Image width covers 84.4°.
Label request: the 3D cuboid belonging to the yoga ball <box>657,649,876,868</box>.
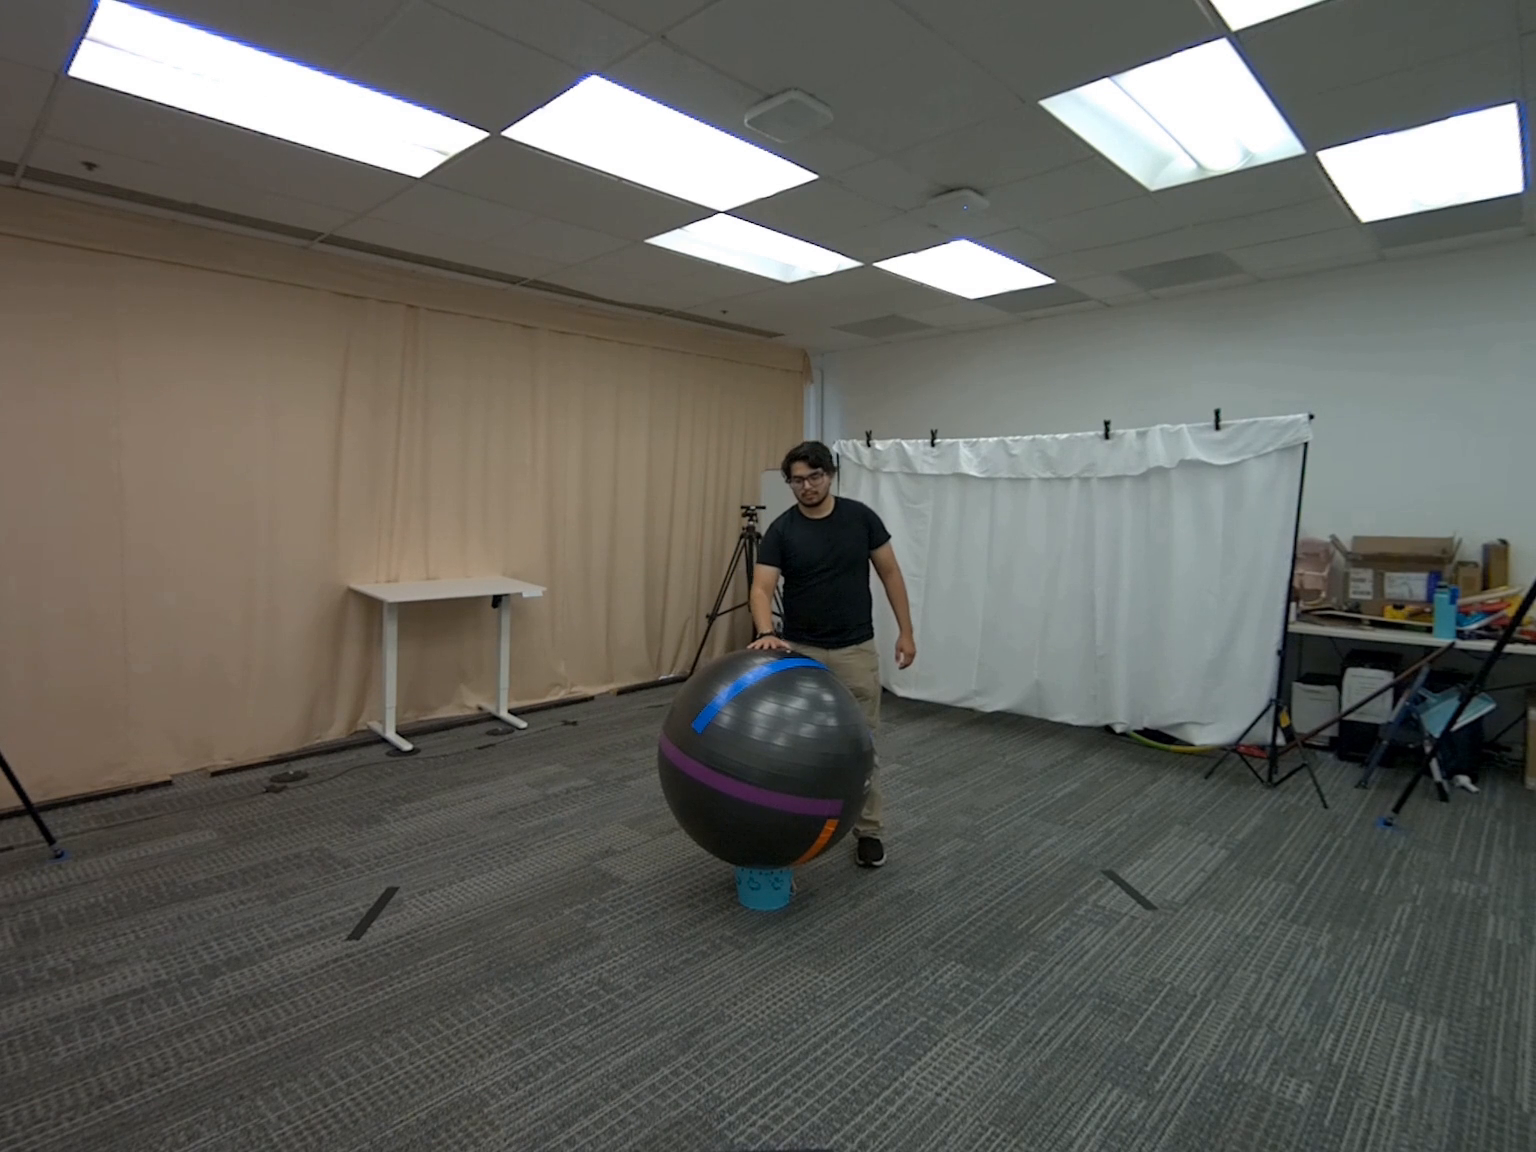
[{"bbox_3d":[-0.002,0.638,2.966,0.757,0.756,0.760,0,4,-2],"label":"yoga ball"}]
